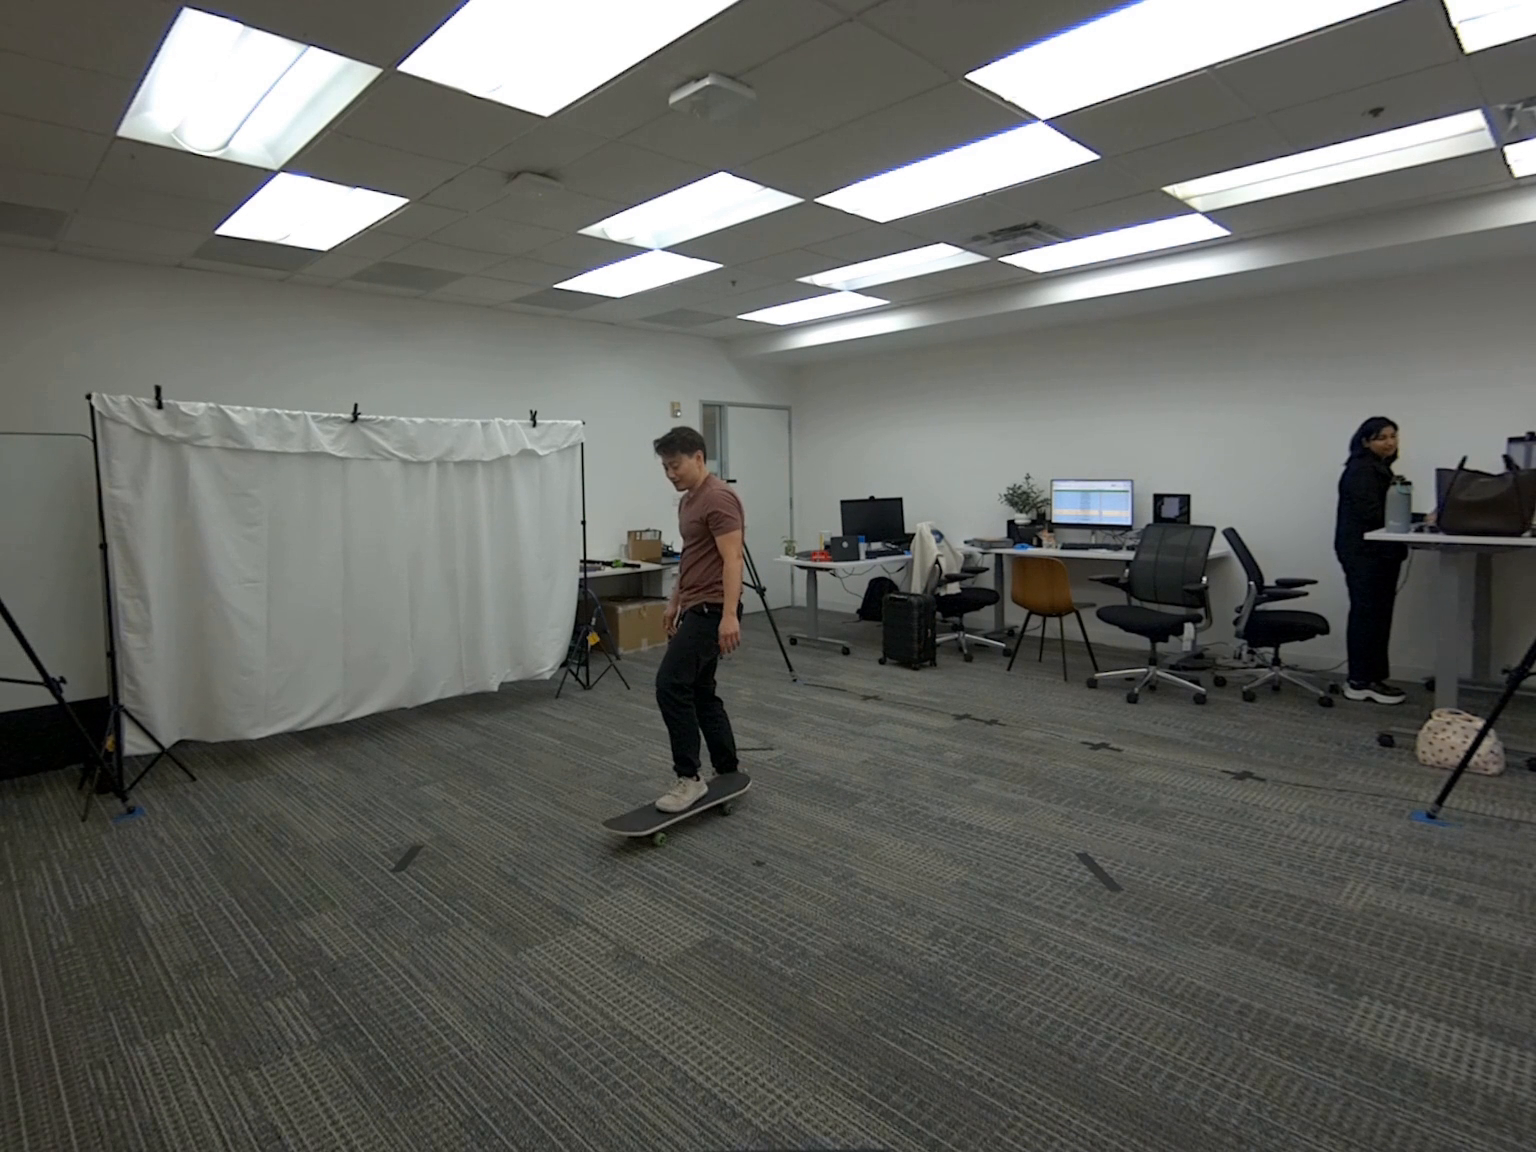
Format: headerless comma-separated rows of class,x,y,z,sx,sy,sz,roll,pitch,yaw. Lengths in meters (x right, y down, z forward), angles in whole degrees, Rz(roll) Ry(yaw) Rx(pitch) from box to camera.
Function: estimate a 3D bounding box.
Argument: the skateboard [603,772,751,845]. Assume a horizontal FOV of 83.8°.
skateboard,-0.355,0.955,3.480,0.199,0.110,0.765,3,7,39
